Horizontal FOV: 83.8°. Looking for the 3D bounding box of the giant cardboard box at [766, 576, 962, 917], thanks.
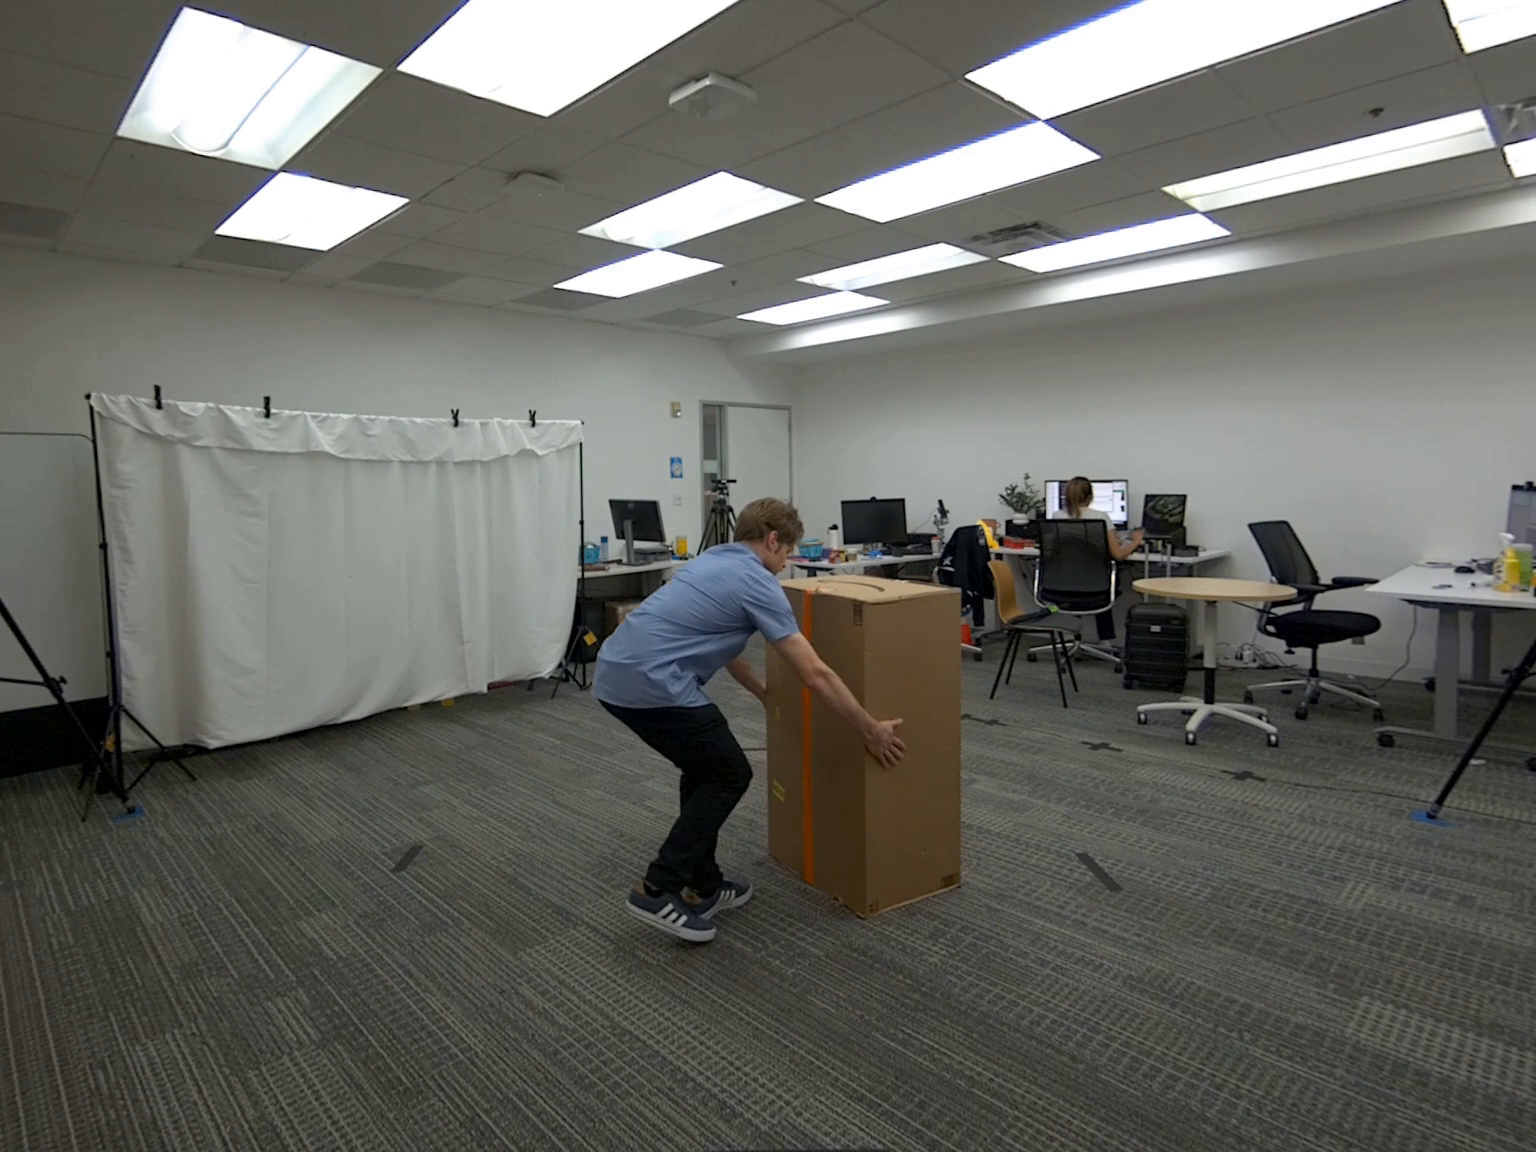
[{"bbox_3d":[0.321,0.543,3.019,0.416,1.022,0.594,-4,5,-32],"label":"giant cardboard box"}]
